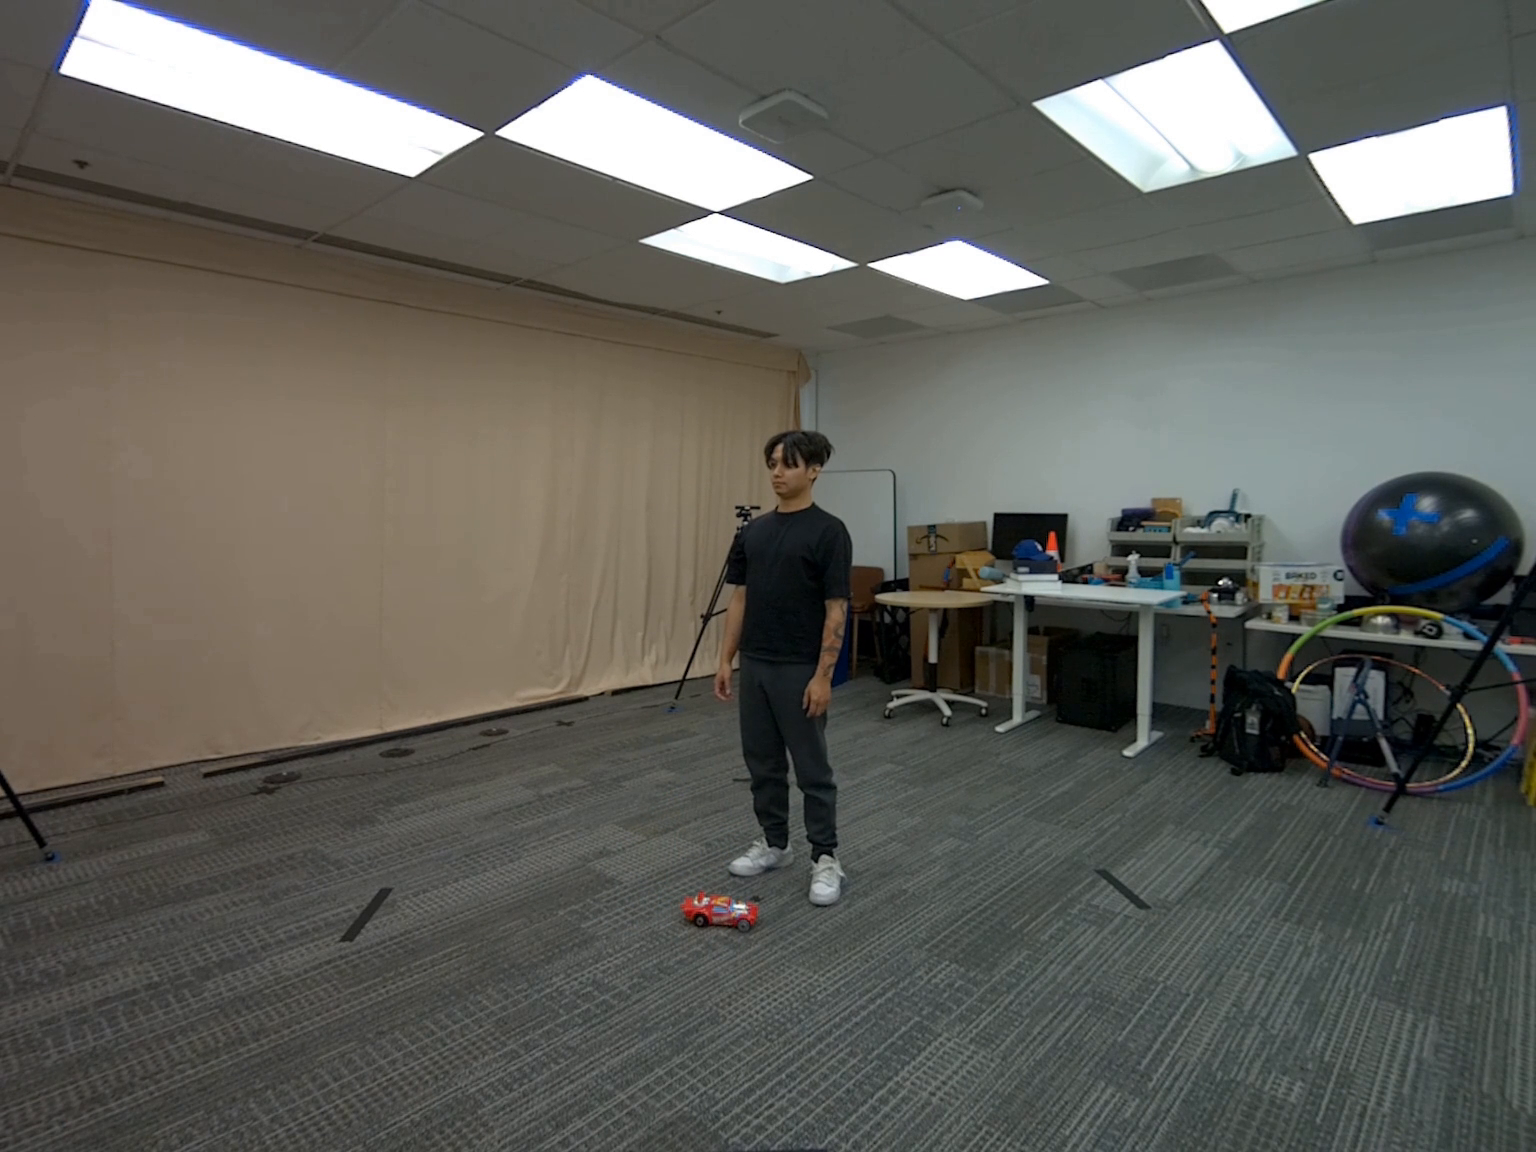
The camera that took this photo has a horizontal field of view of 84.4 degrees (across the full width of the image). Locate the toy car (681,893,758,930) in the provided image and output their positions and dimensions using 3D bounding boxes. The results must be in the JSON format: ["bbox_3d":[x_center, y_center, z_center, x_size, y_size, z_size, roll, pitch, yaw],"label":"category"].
[{"bbox_3d":[-0.163,1.126,2.822,0.258,0.083,0.129,11,6,11],"label":"toy car"}]
